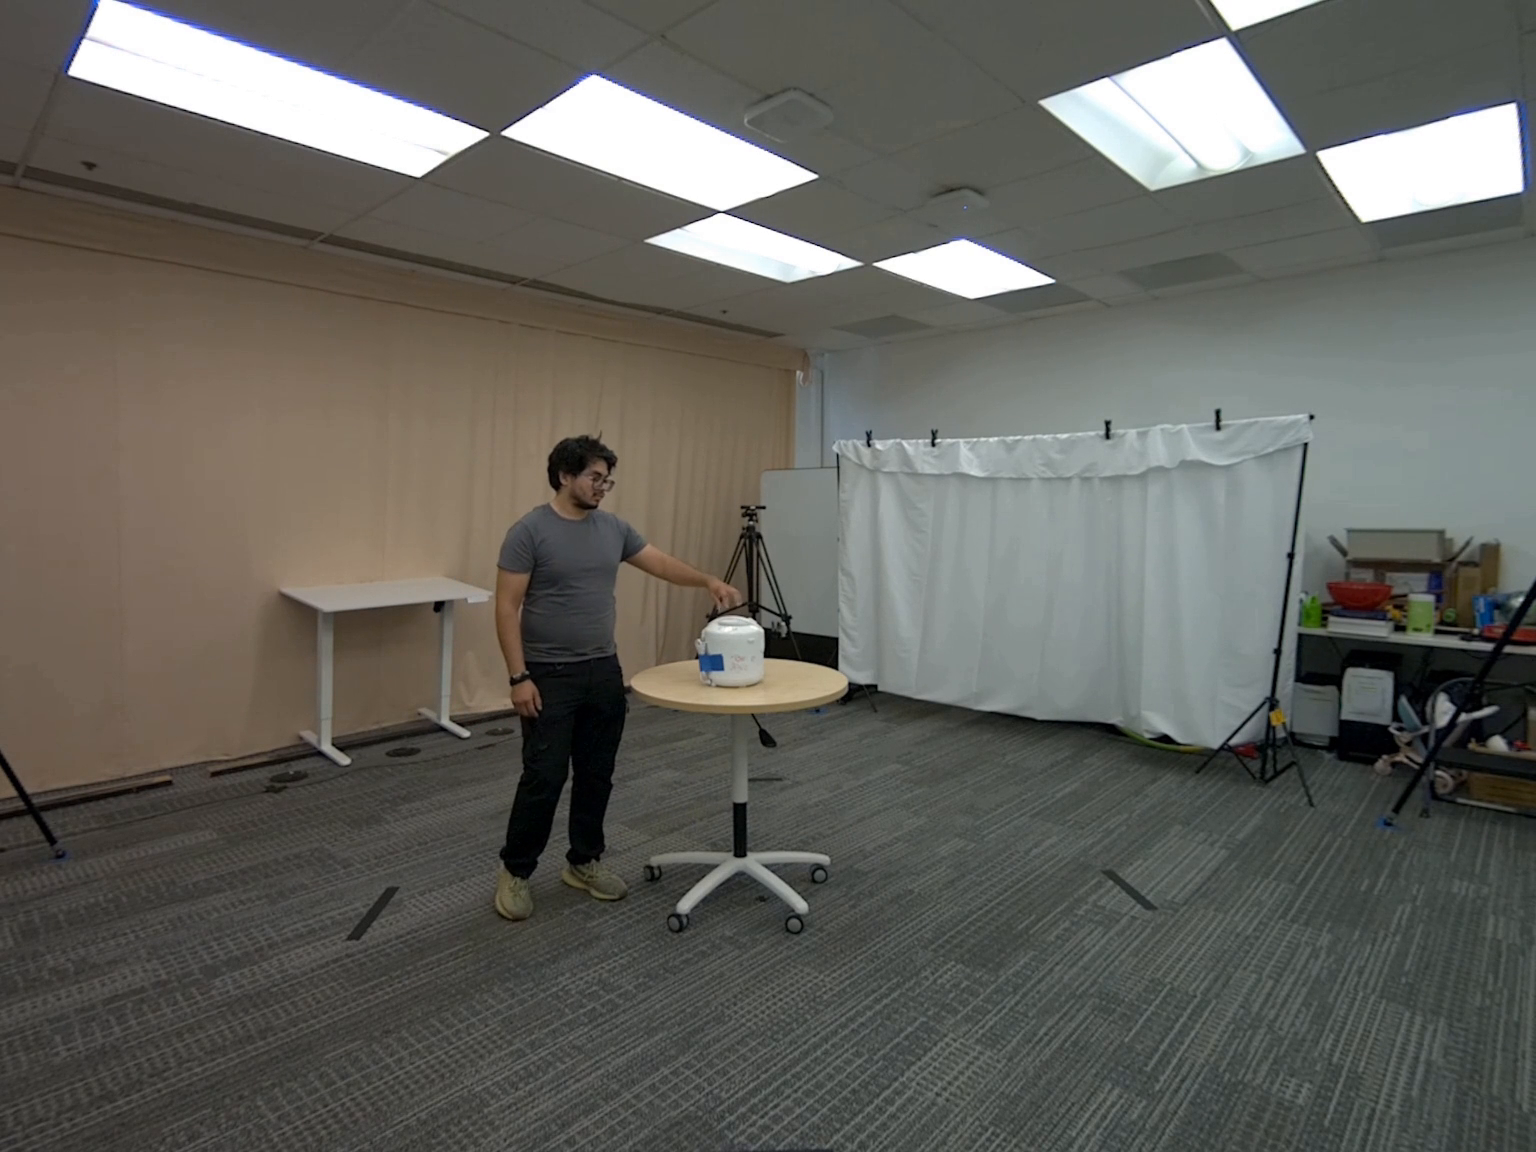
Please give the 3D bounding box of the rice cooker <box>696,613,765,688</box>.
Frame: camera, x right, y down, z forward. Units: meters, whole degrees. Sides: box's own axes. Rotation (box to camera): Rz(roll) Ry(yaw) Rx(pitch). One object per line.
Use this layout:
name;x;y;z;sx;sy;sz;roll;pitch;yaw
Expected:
rice cooker;-0.119;0.253;2.911;0.224;0.232;0.214;1;4;16
